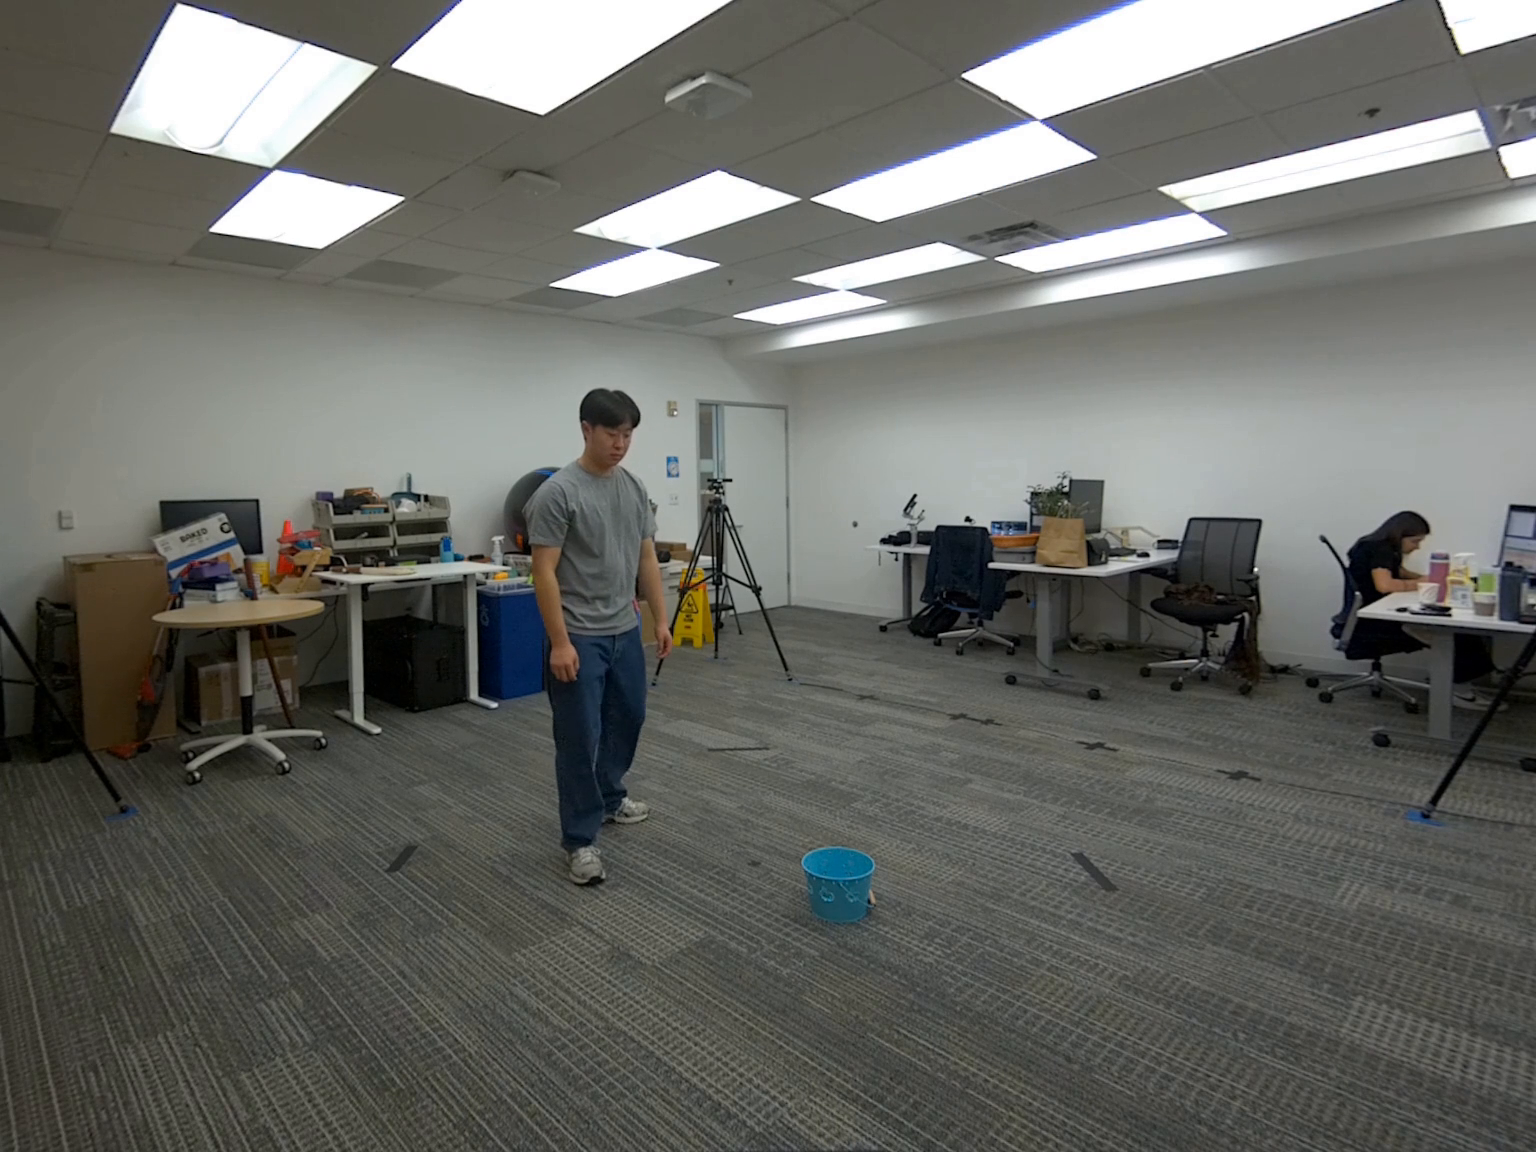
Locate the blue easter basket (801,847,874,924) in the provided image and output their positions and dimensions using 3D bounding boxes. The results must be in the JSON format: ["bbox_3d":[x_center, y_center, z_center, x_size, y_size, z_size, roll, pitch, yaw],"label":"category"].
[{"bbox_3d":[0.237,1.002,2.761,0.243,0.155,0.245,-2,5,-2],"label":"blue easter basket"}]
